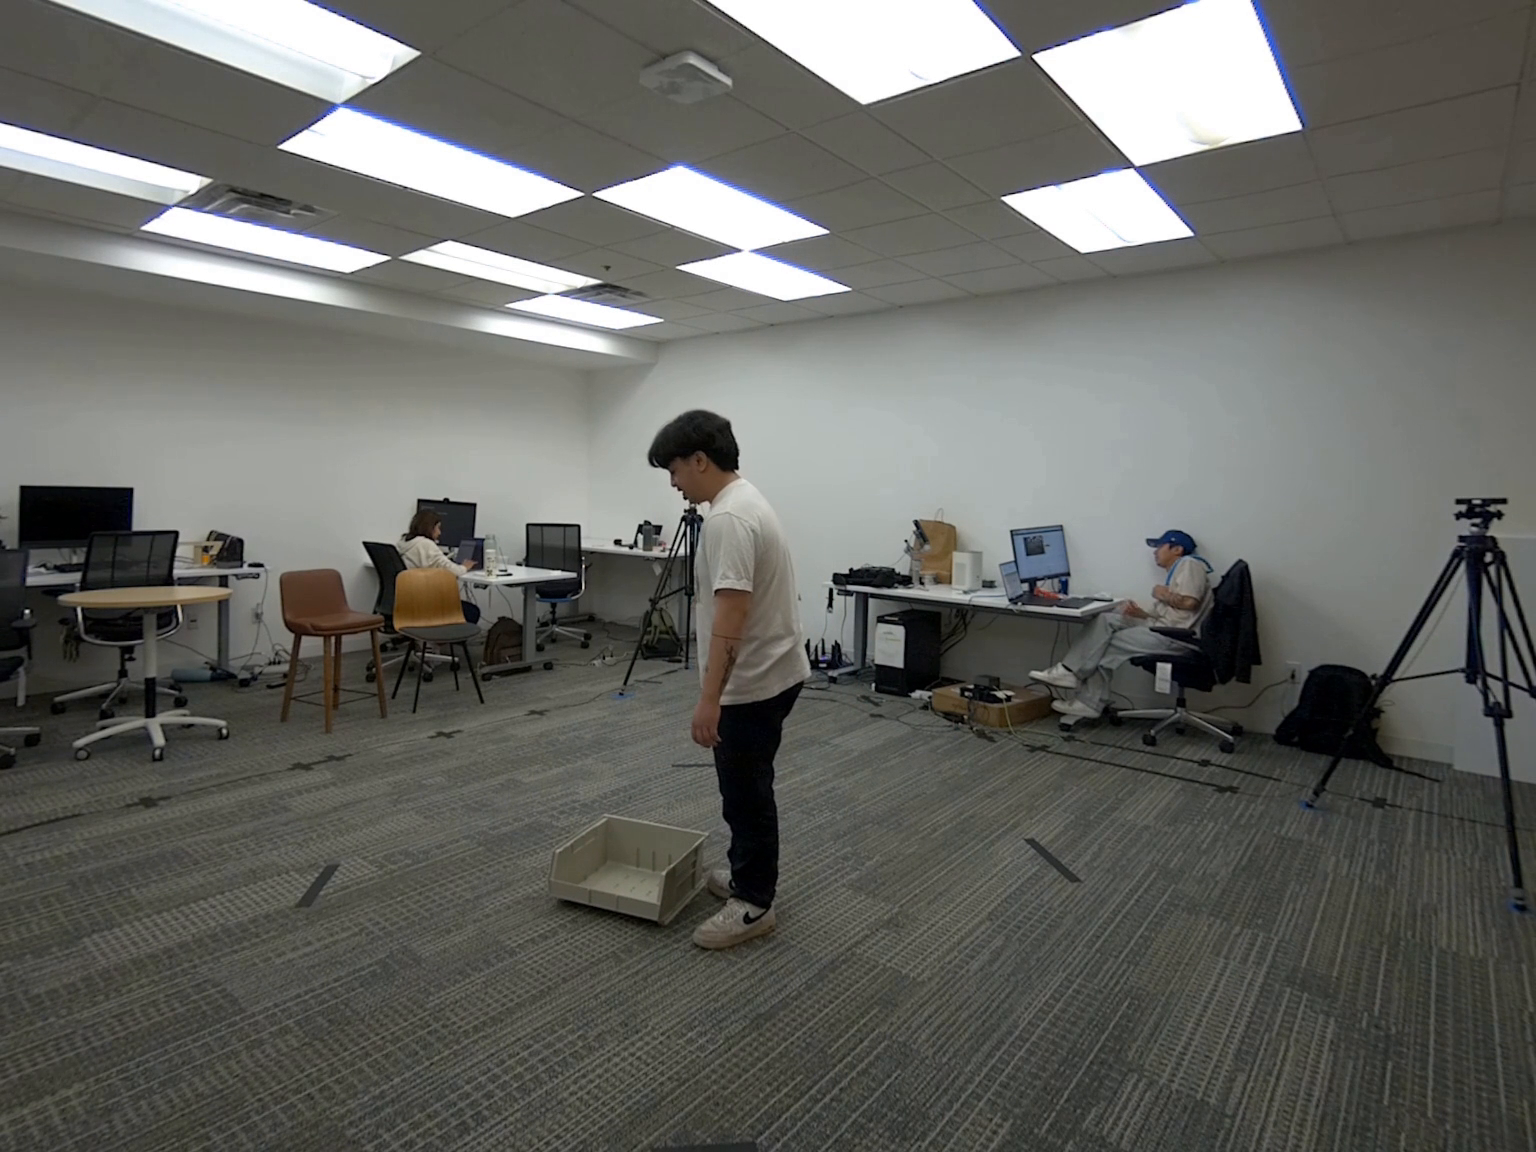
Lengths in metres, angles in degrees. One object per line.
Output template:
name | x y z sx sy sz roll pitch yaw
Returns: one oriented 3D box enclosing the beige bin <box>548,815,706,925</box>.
beige bin | -0.477 0.996 2.896 0.432 0.188 0.370 2 4 21
